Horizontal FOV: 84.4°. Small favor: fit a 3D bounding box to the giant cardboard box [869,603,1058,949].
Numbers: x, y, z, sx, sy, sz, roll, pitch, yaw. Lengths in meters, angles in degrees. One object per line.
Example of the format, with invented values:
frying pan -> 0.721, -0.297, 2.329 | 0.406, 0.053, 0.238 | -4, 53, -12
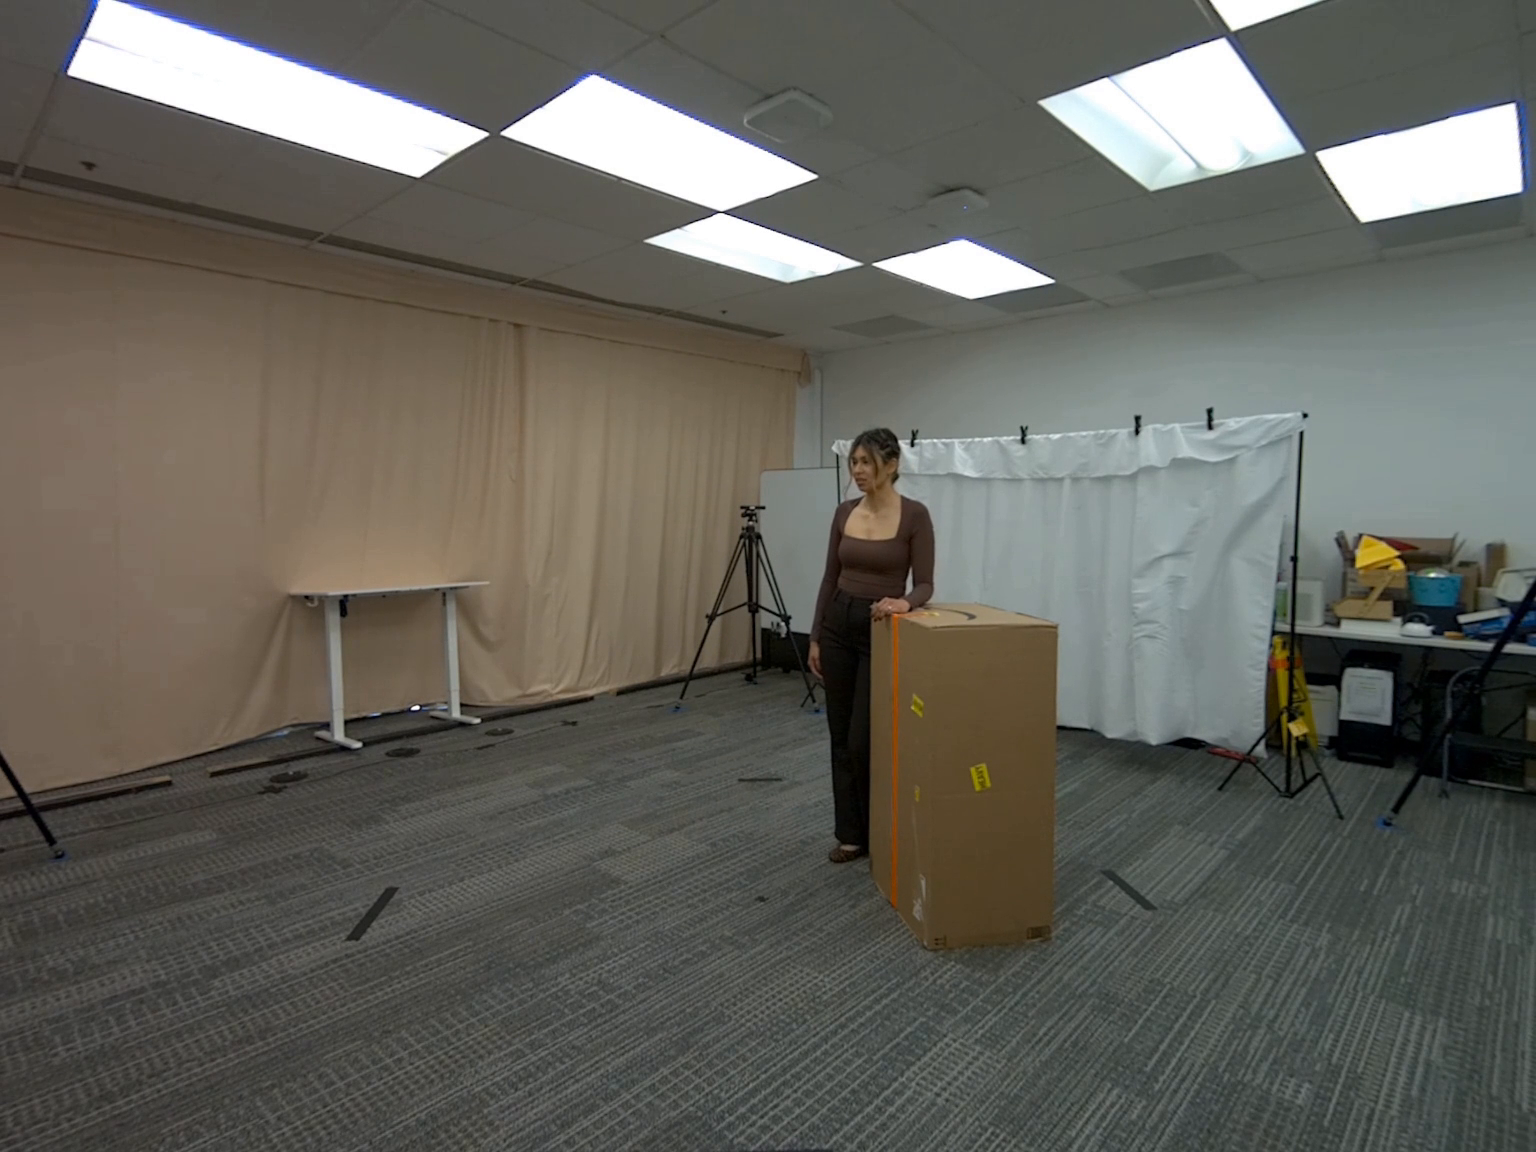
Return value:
giant cardboard box -> 0.652, 0.641, 2.909 | 0.442, 1.025, 0.591 | 0, 3, -11
